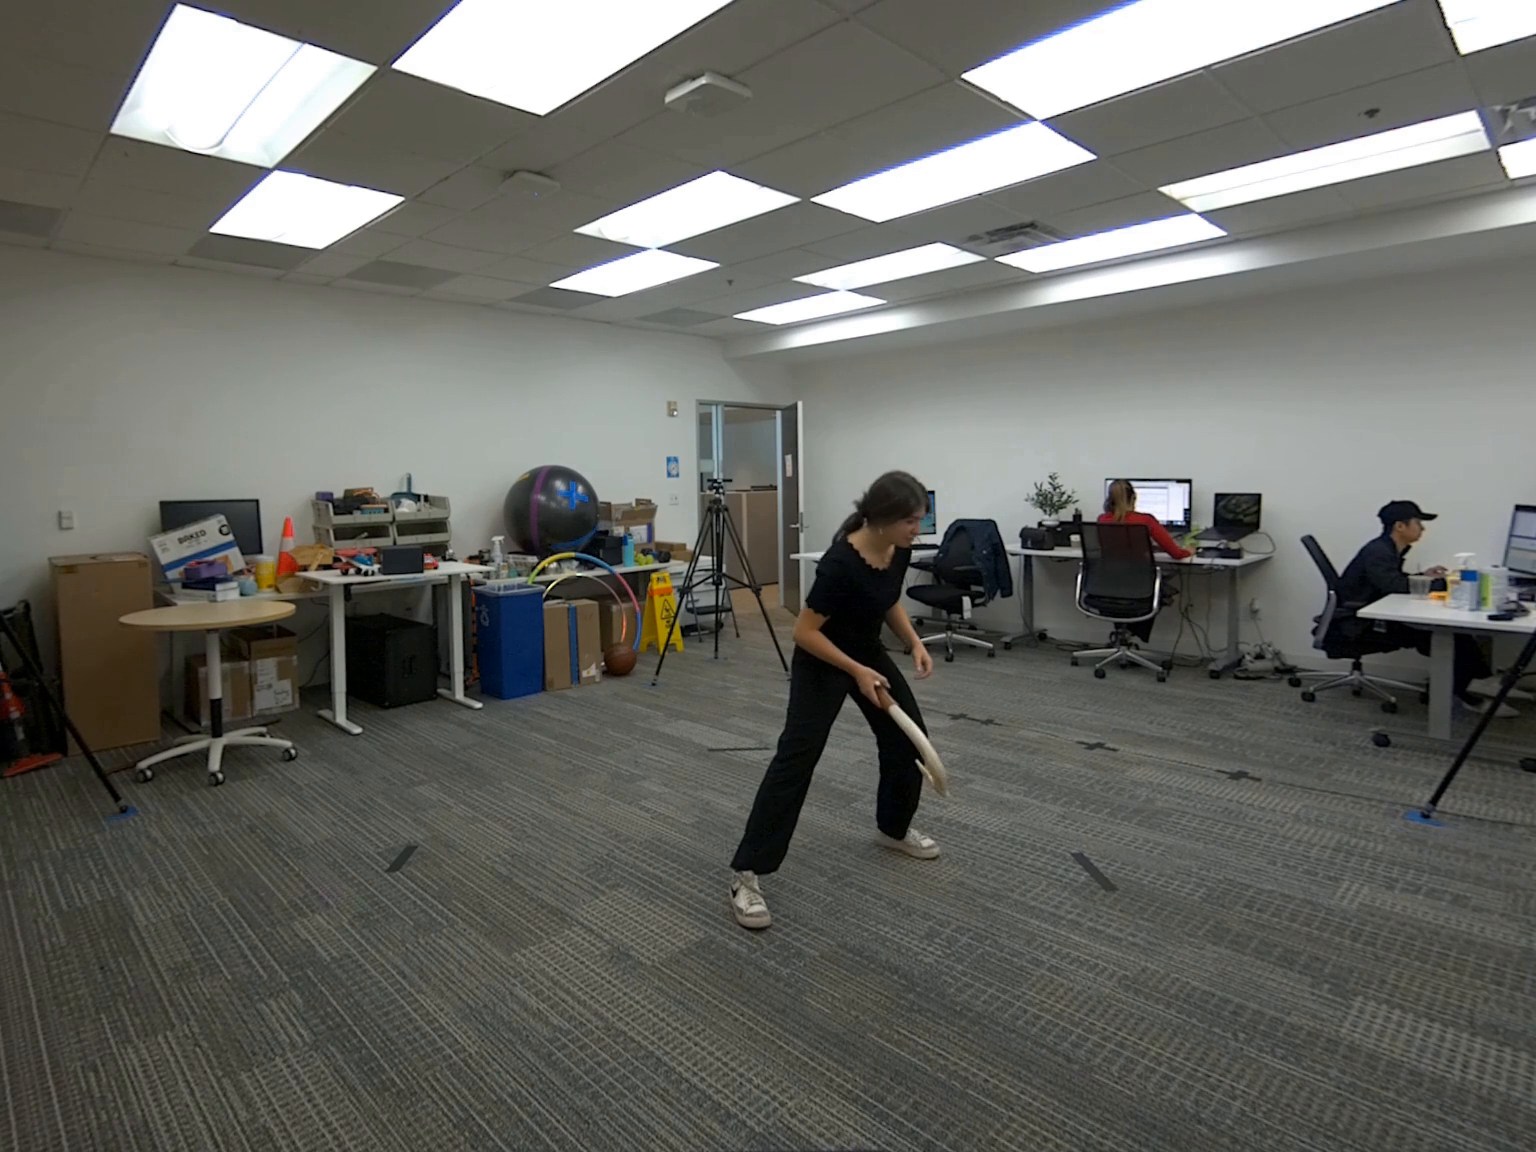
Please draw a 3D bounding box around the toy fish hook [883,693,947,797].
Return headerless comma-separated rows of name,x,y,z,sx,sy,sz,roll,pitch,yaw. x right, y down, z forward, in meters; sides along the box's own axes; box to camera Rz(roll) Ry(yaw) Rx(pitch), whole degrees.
toy fish hook,0.421,0.487,2.658,0.048,0.218,0.525,-20,34,-8
